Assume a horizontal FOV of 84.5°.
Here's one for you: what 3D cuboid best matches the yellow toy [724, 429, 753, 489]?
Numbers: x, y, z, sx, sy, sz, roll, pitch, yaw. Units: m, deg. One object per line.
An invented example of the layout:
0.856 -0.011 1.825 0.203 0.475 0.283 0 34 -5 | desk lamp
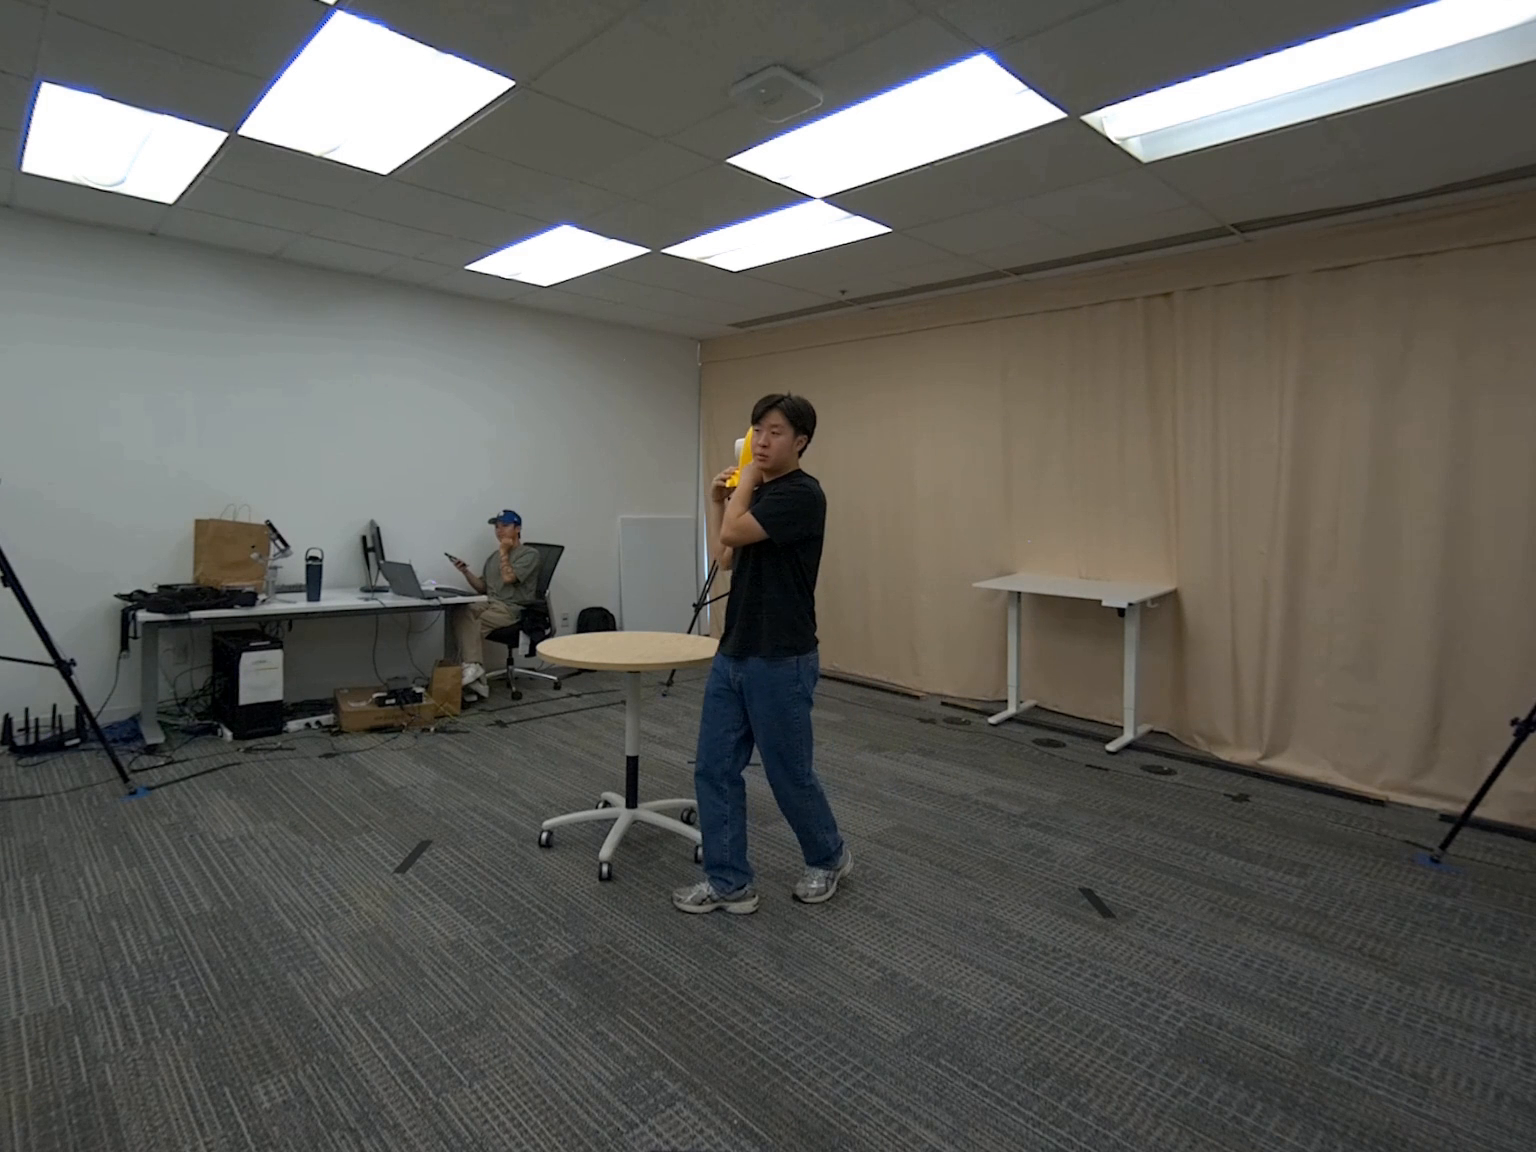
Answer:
-0.056 -0.446 3.009 0.209 0.230 0.190 -2 6 36 | yellow toy
